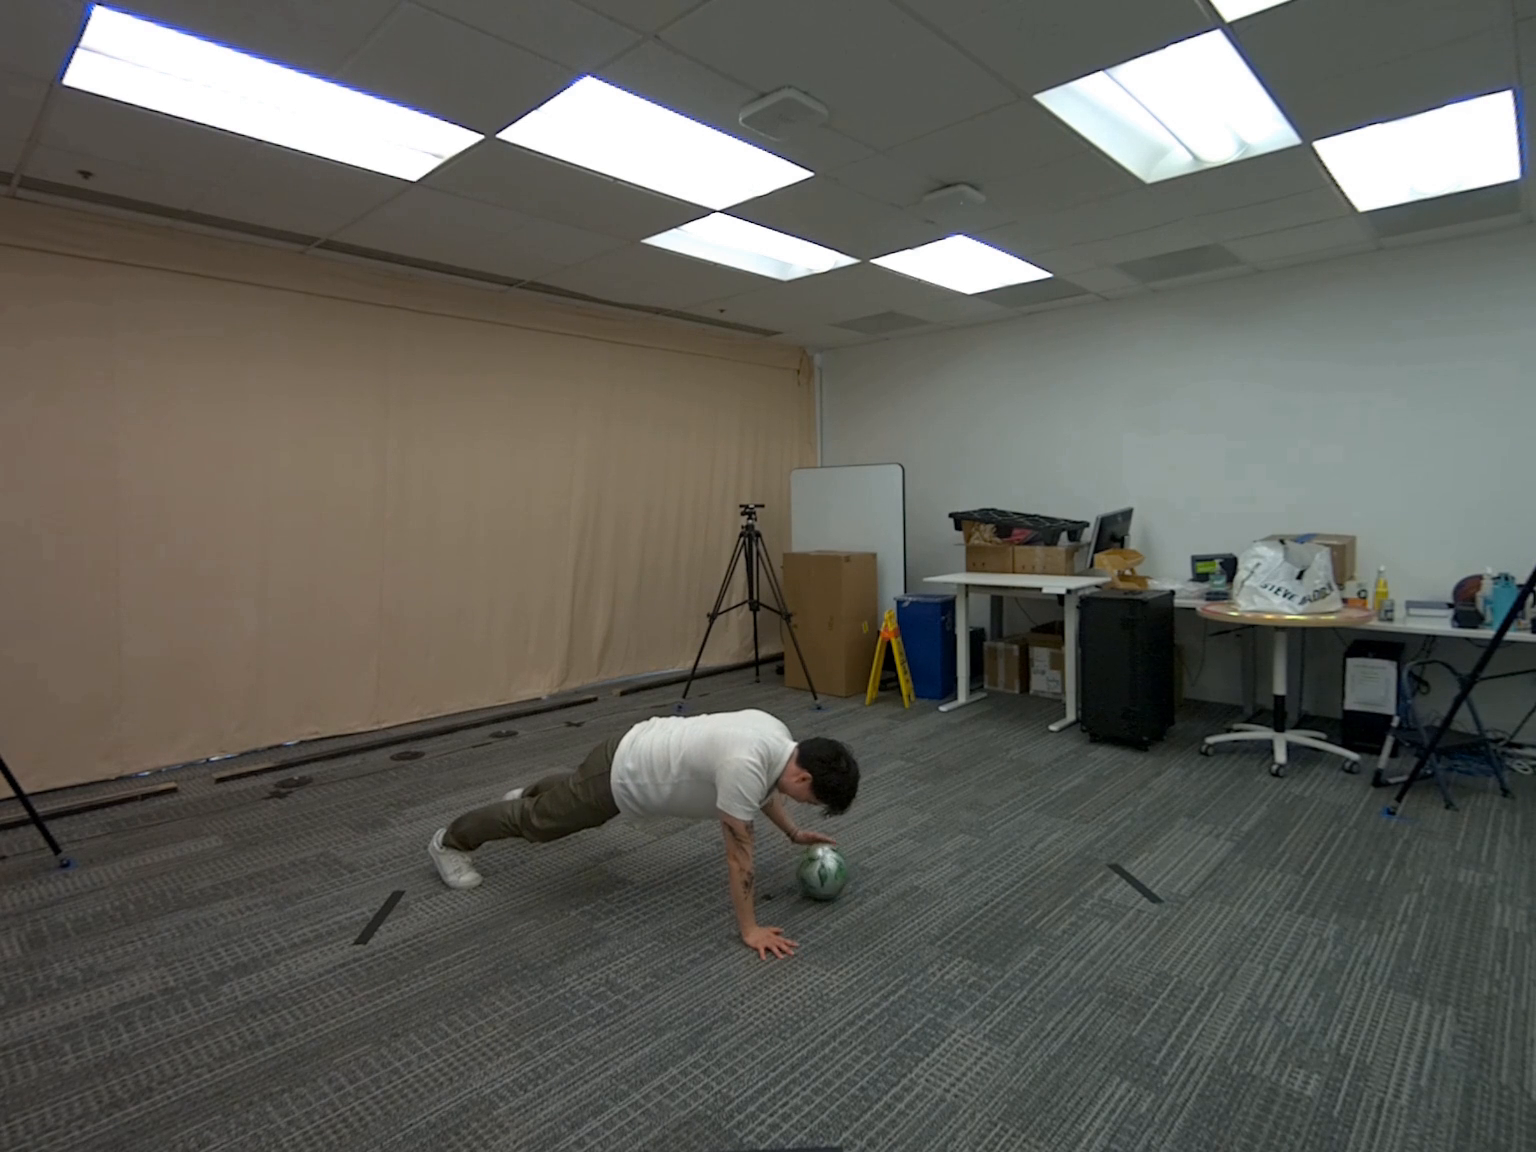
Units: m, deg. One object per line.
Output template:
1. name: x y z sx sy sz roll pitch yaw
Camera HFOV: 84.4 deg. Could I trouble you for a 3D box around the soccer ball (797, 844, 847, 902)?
1. soccer ball: 0.192 1.043 2.965 0.187 0.187 0.188 -1 4 -2
